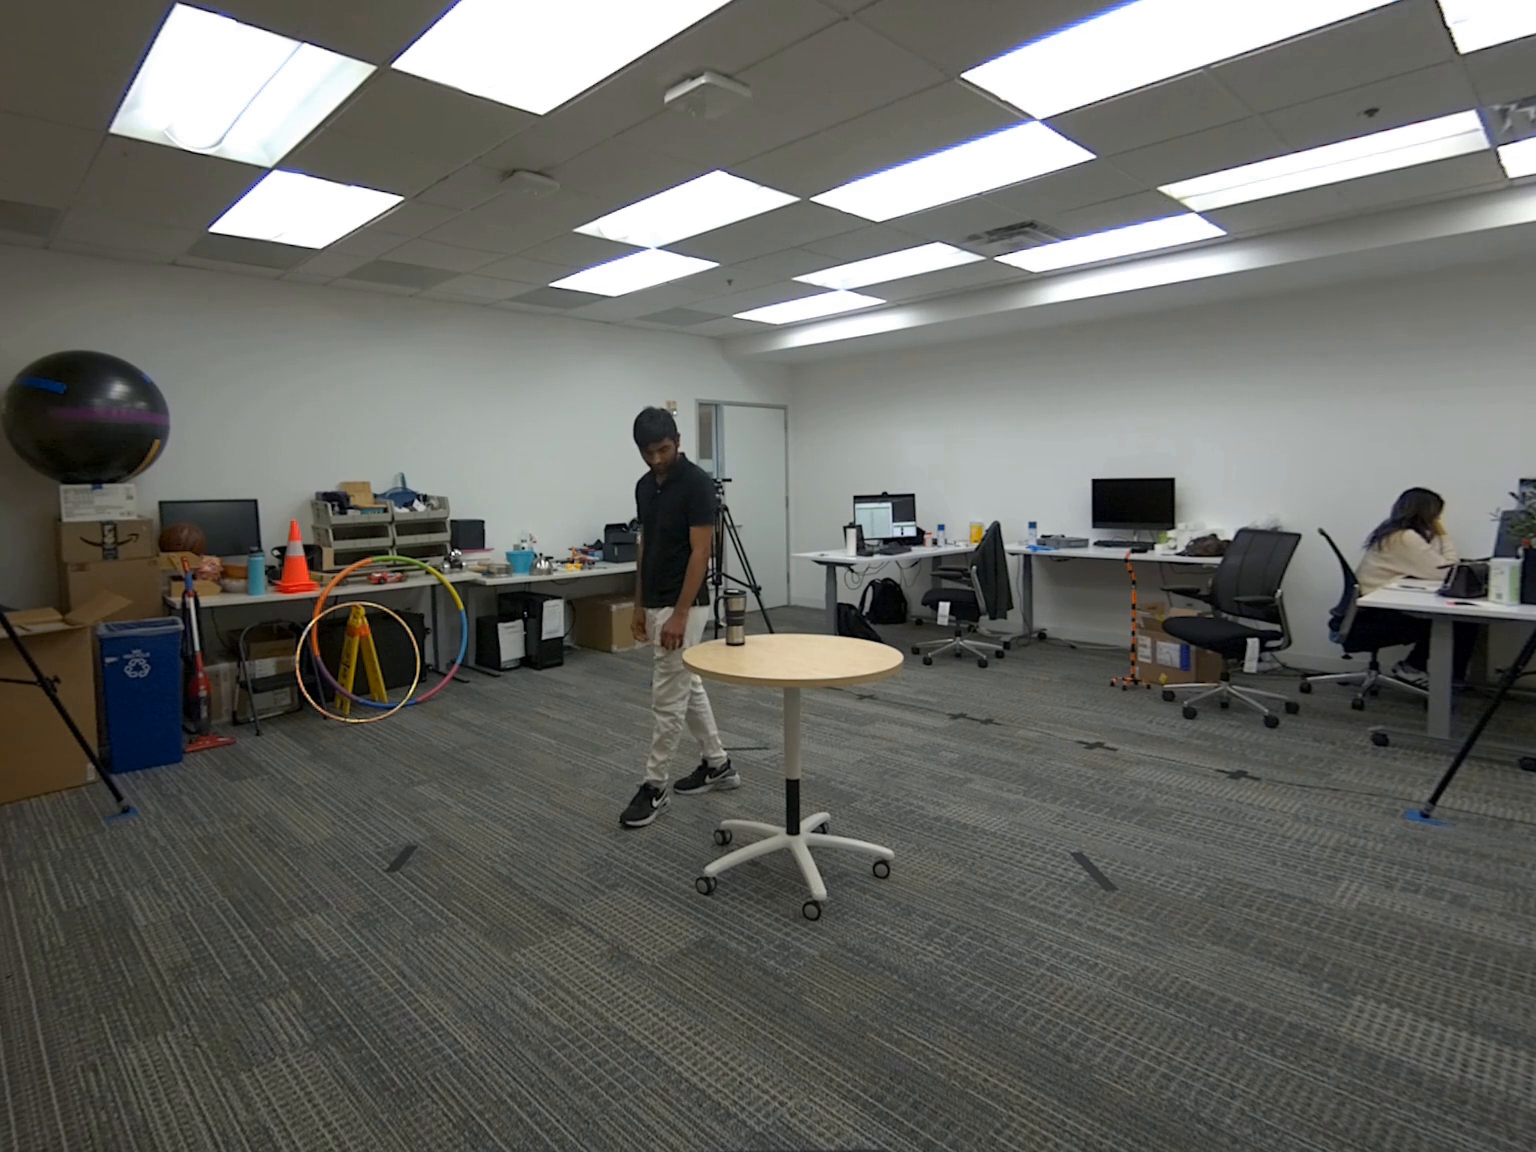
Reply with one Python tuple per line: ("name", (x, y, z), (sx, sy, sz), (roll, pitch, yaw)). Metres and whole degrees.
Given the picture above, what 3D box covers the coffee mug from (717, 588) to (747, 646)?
("coffee mug", (-0.135, 0.152, 3.168), (0.123, 0.202, 0.087), (3, 6, 9))
